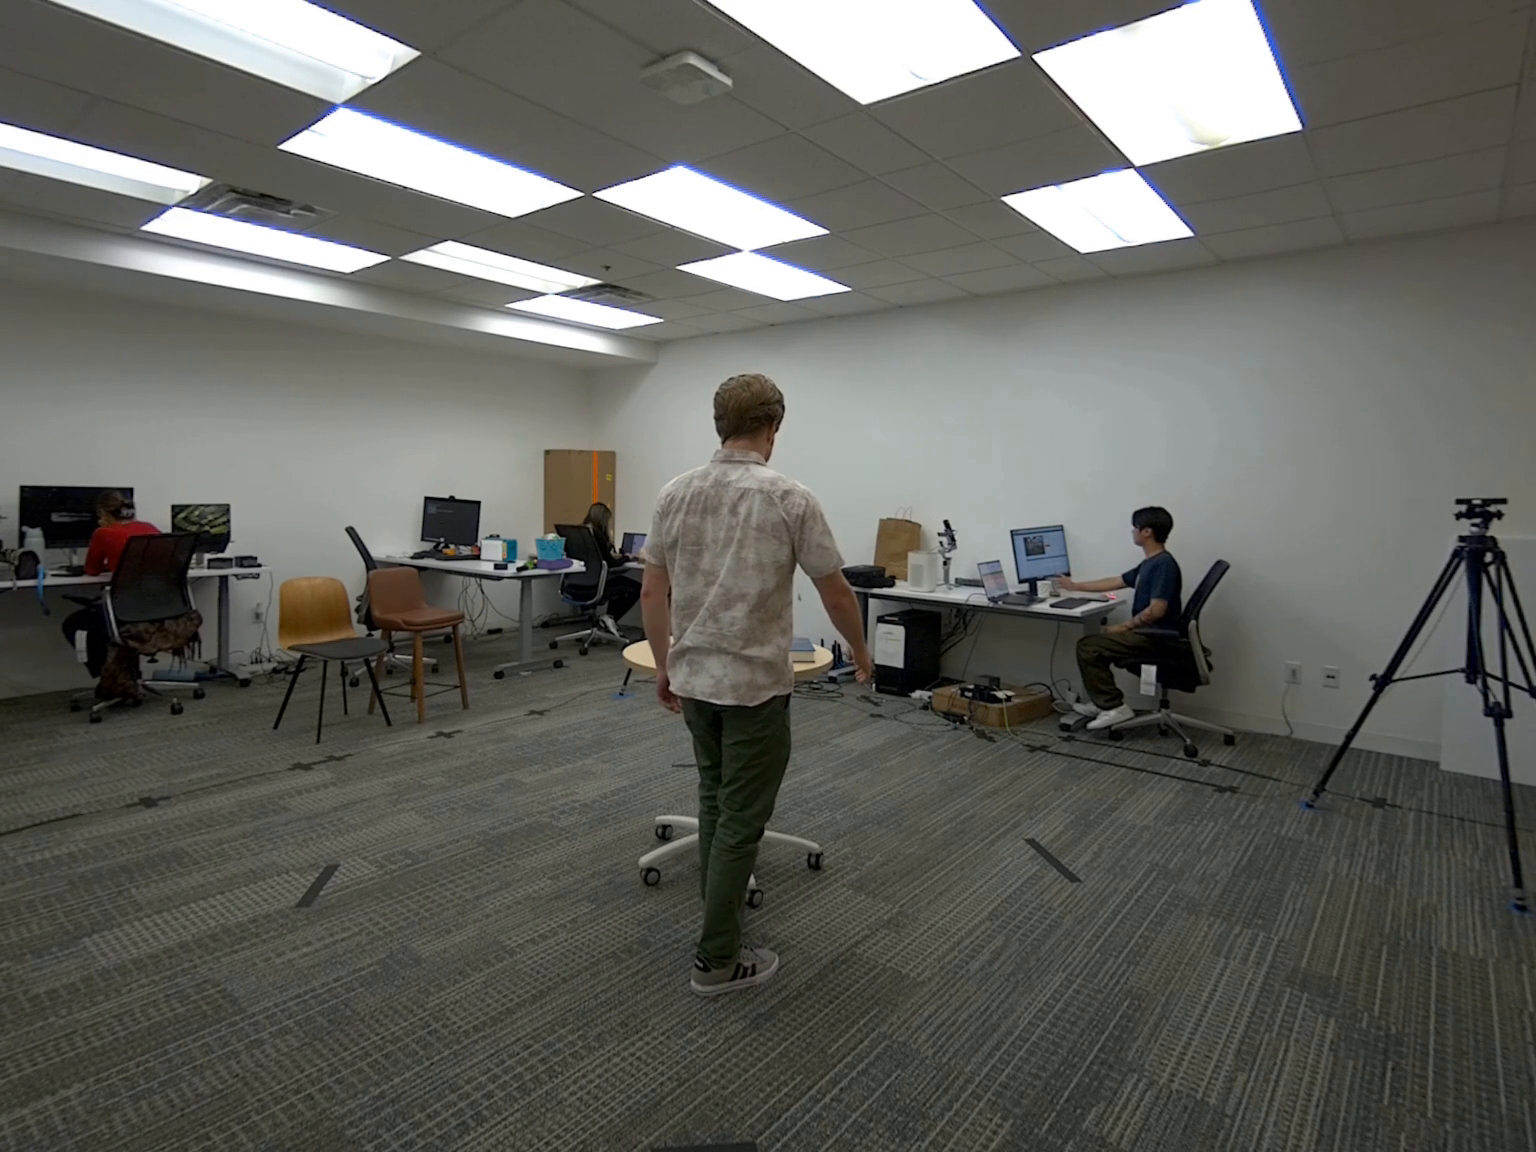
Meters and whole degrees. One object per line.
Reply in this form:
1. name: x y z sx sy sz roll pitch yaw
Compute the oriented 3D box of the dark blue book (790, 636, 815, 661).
1. dark blue book: 0.071 0.259 3.061 0.163 0.045 0.246 1 5 -2
